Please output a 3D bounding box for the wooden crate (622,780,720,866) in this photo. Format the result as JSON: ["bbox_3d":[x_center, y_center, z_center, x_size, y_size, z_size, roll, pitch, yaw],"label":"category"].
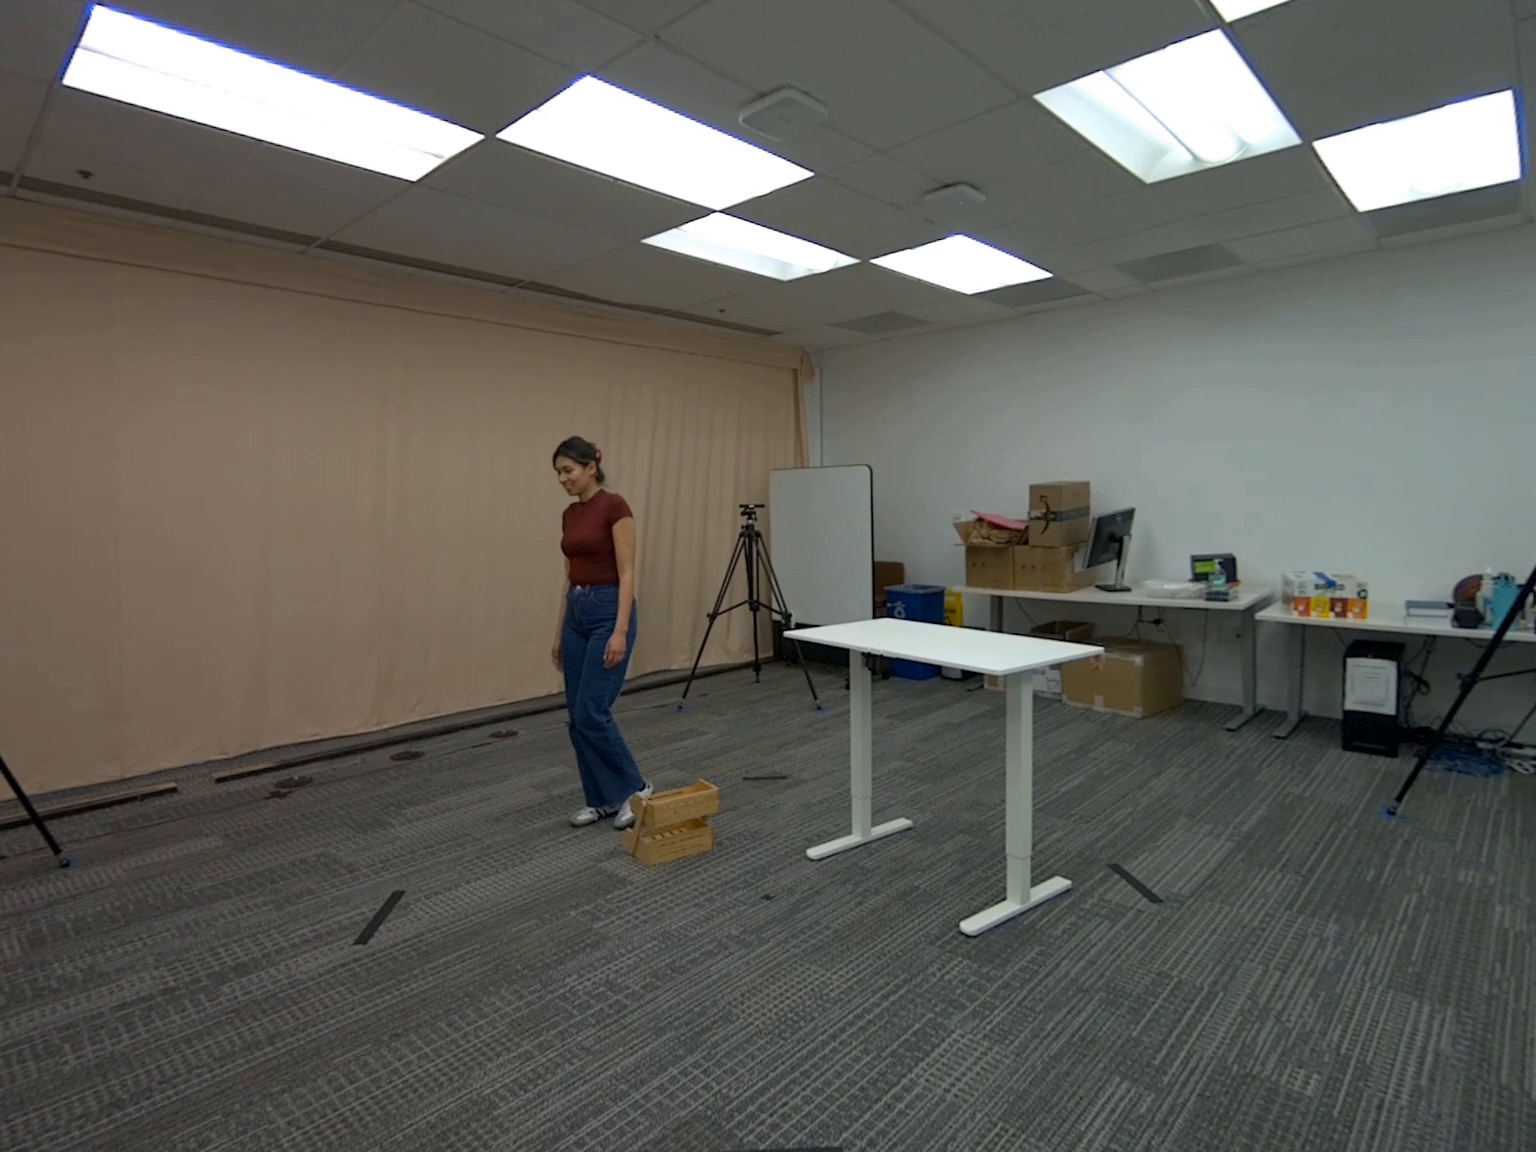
[{"bbox_3d":[-0.403,0.977,3.416,0.315,0.272,0.311,-4,5,-33],"label":"wooden crate"}]
